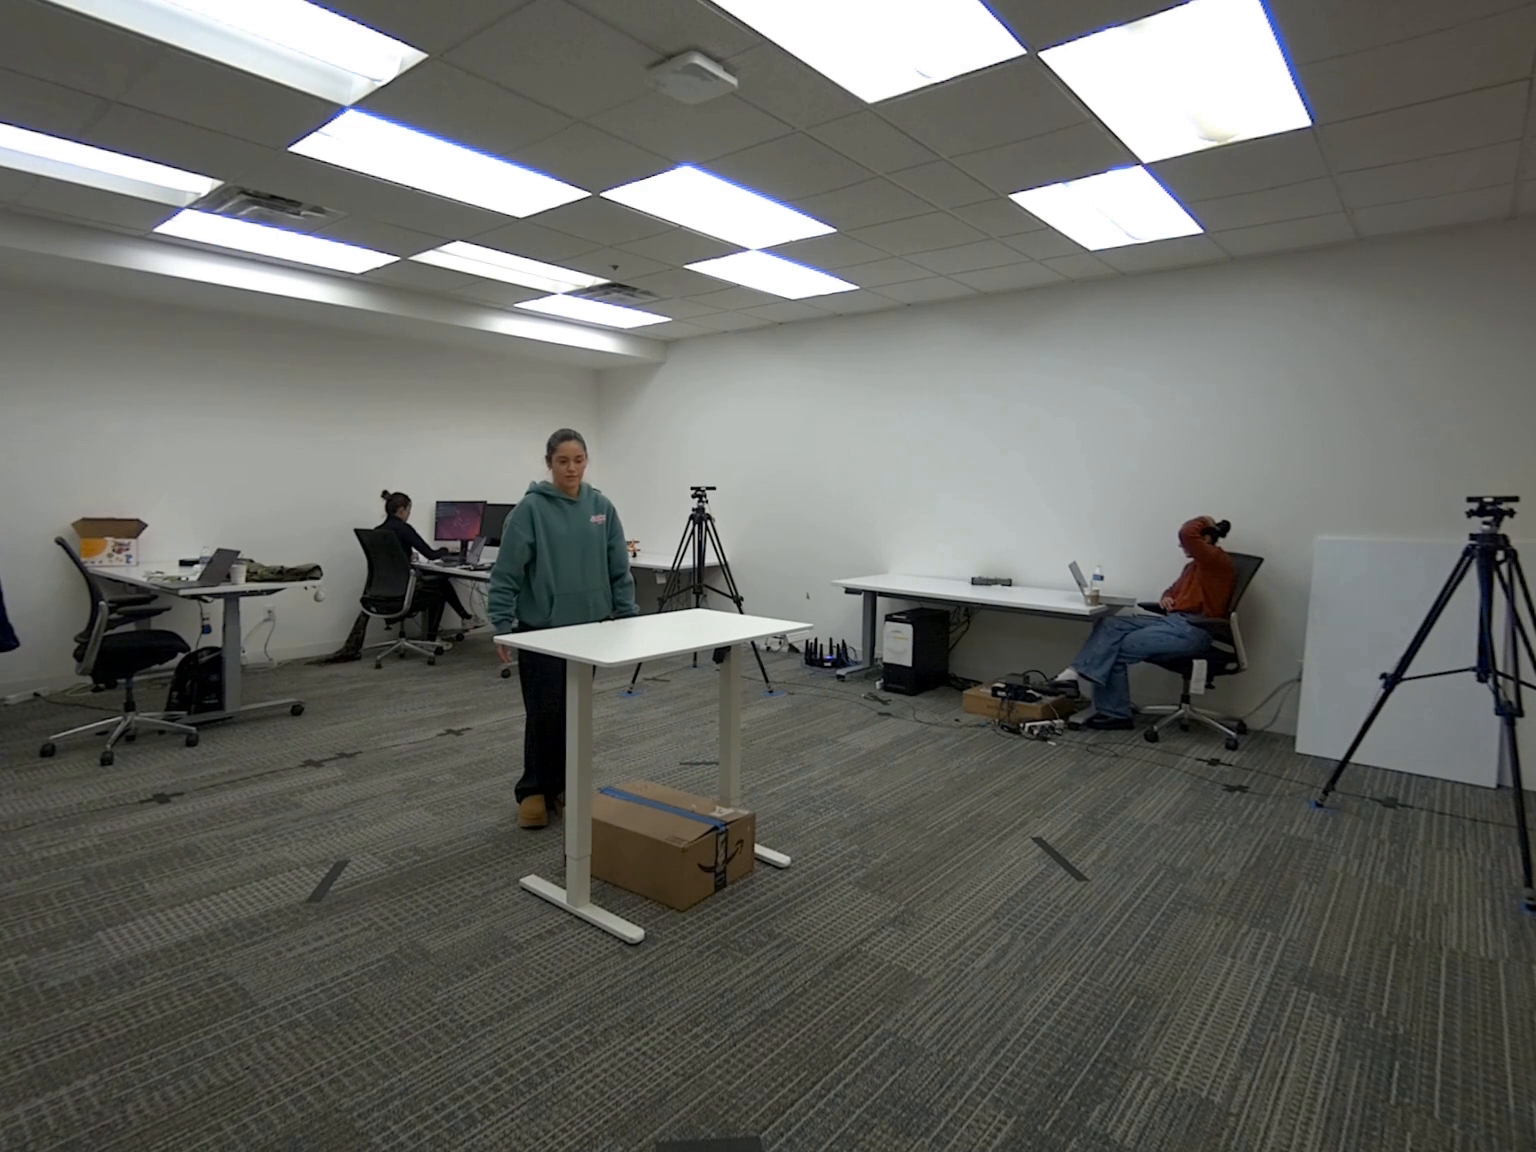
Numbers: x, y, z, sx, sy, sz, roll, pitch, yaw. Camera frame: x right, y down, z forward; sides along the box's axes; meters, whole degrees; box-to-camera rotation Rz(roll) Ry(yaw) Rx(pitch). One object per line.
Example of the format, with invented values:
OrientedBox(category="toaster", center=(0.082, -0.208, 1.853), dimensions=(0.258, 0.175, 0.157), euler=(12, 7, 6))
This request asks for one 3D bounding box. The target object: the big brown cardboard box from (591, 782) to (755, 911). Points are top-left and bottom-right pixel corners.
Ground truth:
OrientedBox(category="big brown cardboard box", center=(-0.403, 0.947, 3.089), dimensions=(0.608, 0.232, 0.406), euler=(4, 5, 35))
